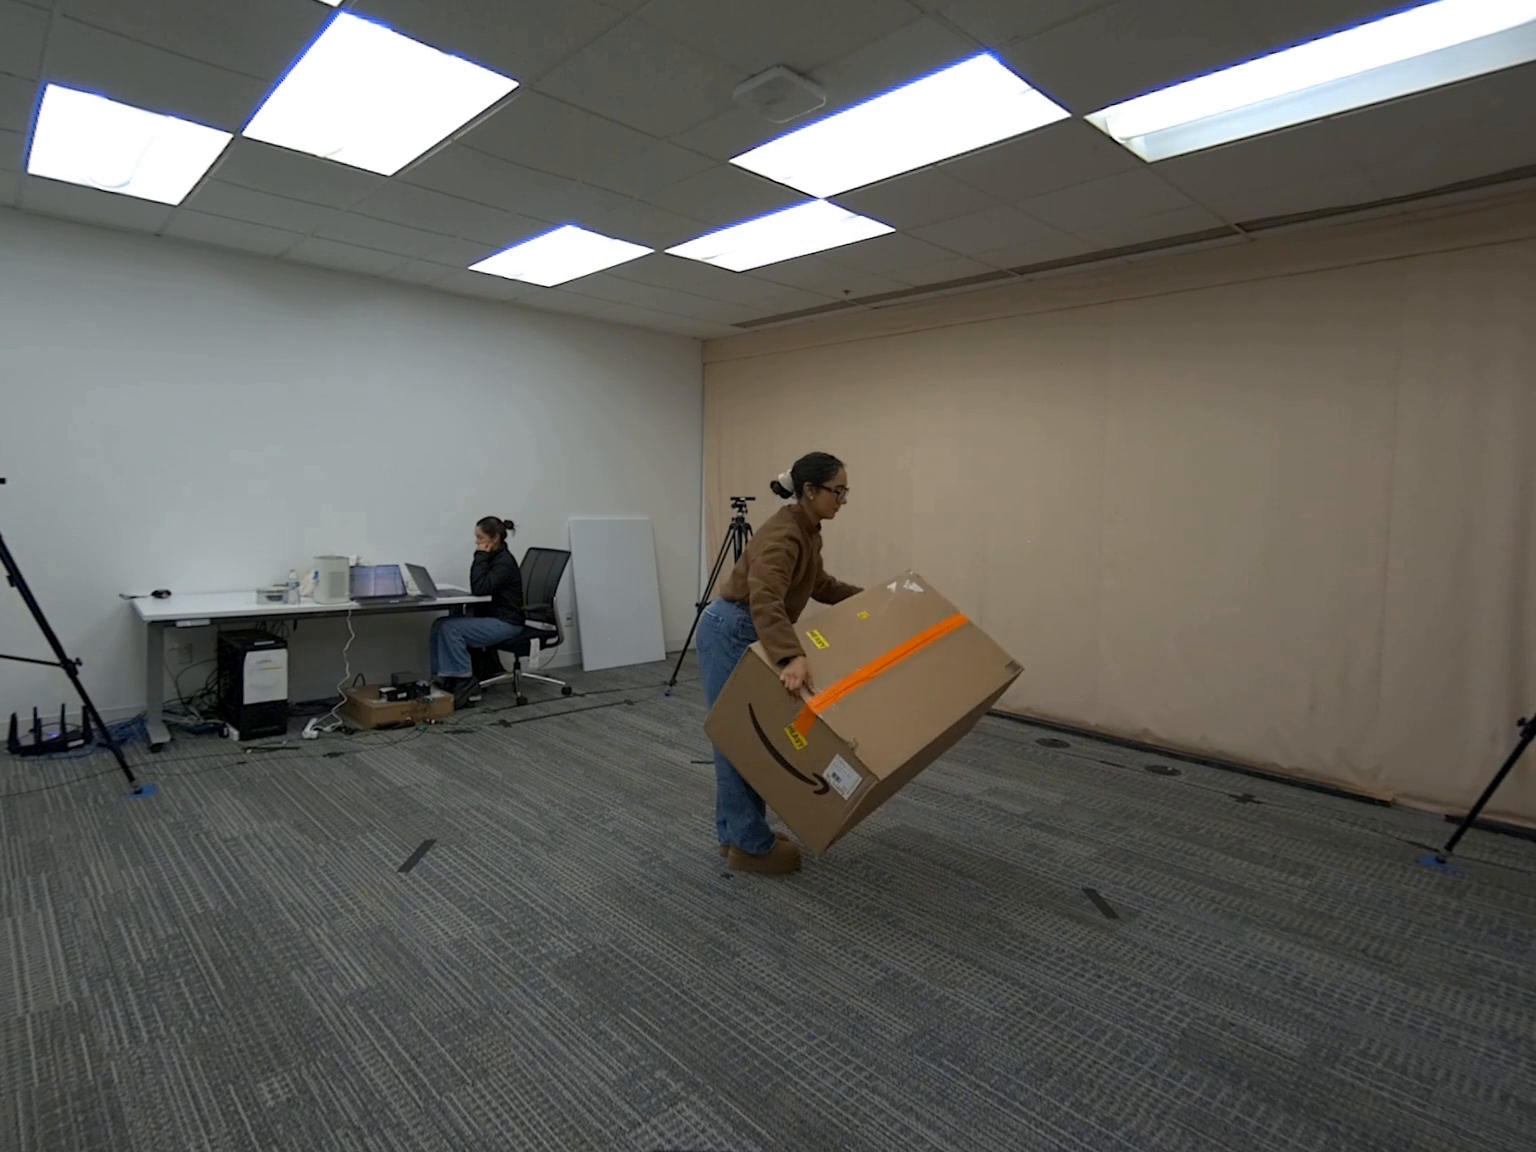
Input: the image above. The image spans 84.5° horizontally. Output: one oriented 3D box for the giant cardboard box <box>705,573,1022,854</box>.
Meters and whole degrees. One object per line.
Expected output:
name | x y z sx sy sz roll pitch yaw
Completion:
giant cardboard box | 0.368 0.429 3.008 0.591 0.422 1.010 43 37 22
